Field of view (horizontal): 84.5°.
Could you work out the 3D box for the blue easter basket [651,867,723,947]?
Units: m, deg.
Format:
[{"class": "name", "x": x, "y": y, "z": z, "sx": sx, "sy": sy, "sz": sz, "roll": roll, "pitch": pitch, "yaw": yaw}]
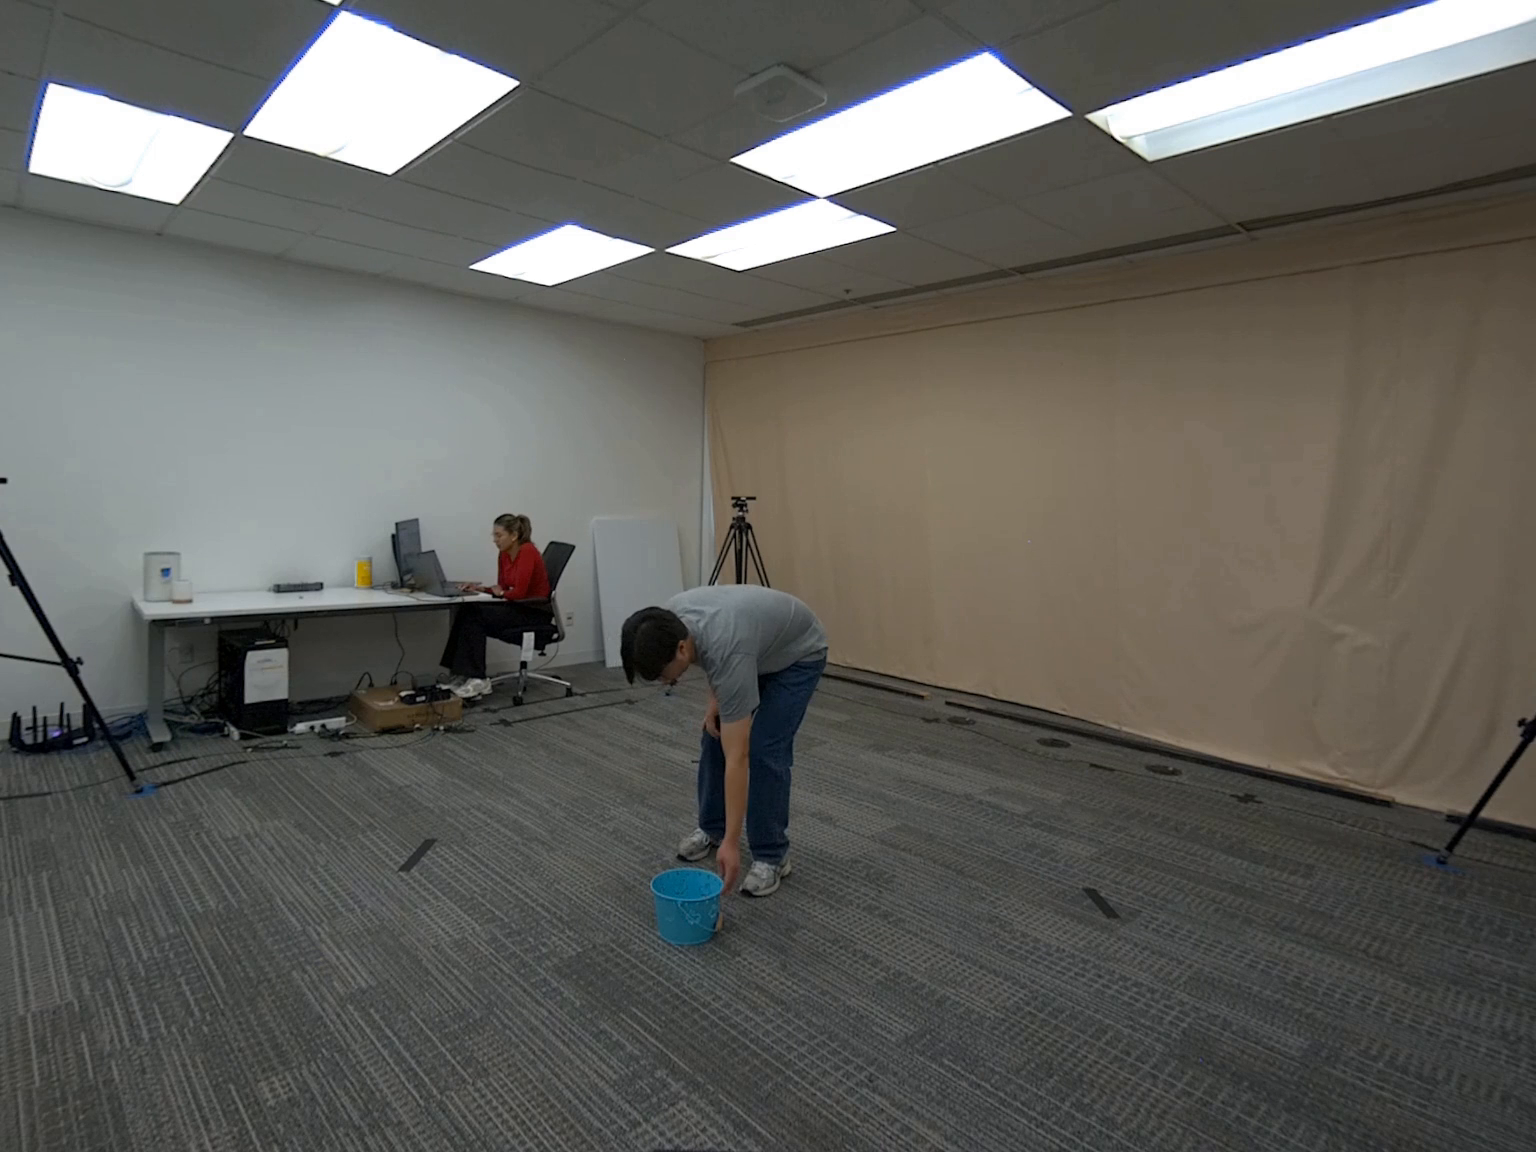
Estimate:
[{"class": "blue easter basket", "x": -0.275, "y": 1.064, "z": 2.694, "sx": 0.243, "sy": 0.155, "sz": 0.244, "roll": 0, "pitch": 4, "yaw": -1}]
